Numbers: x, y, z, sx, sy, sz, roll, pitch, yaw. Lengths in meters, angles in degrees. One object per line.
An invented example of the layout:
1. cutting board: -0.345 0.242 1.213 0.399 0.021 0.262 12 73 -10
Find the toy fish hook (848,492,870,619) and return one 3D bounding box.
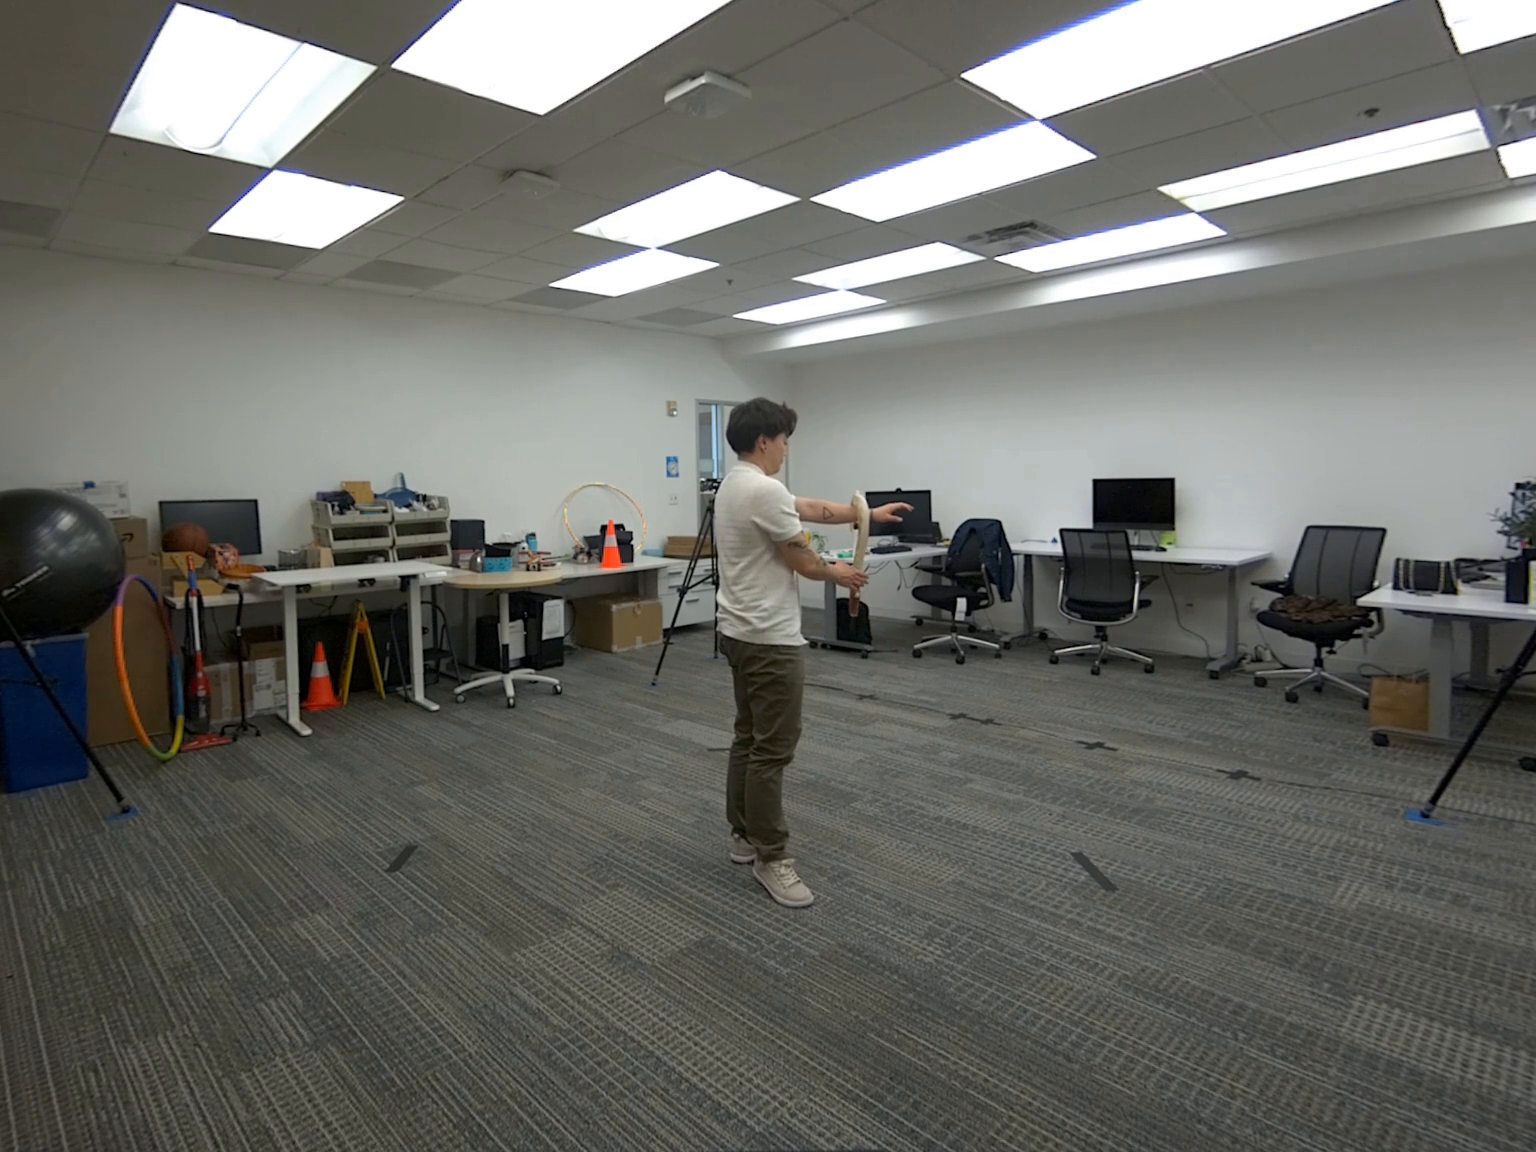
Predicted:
1. toy fish hook: 0.349 -0.083 3.385 0.048 0.497 0.229 0 23 -5
